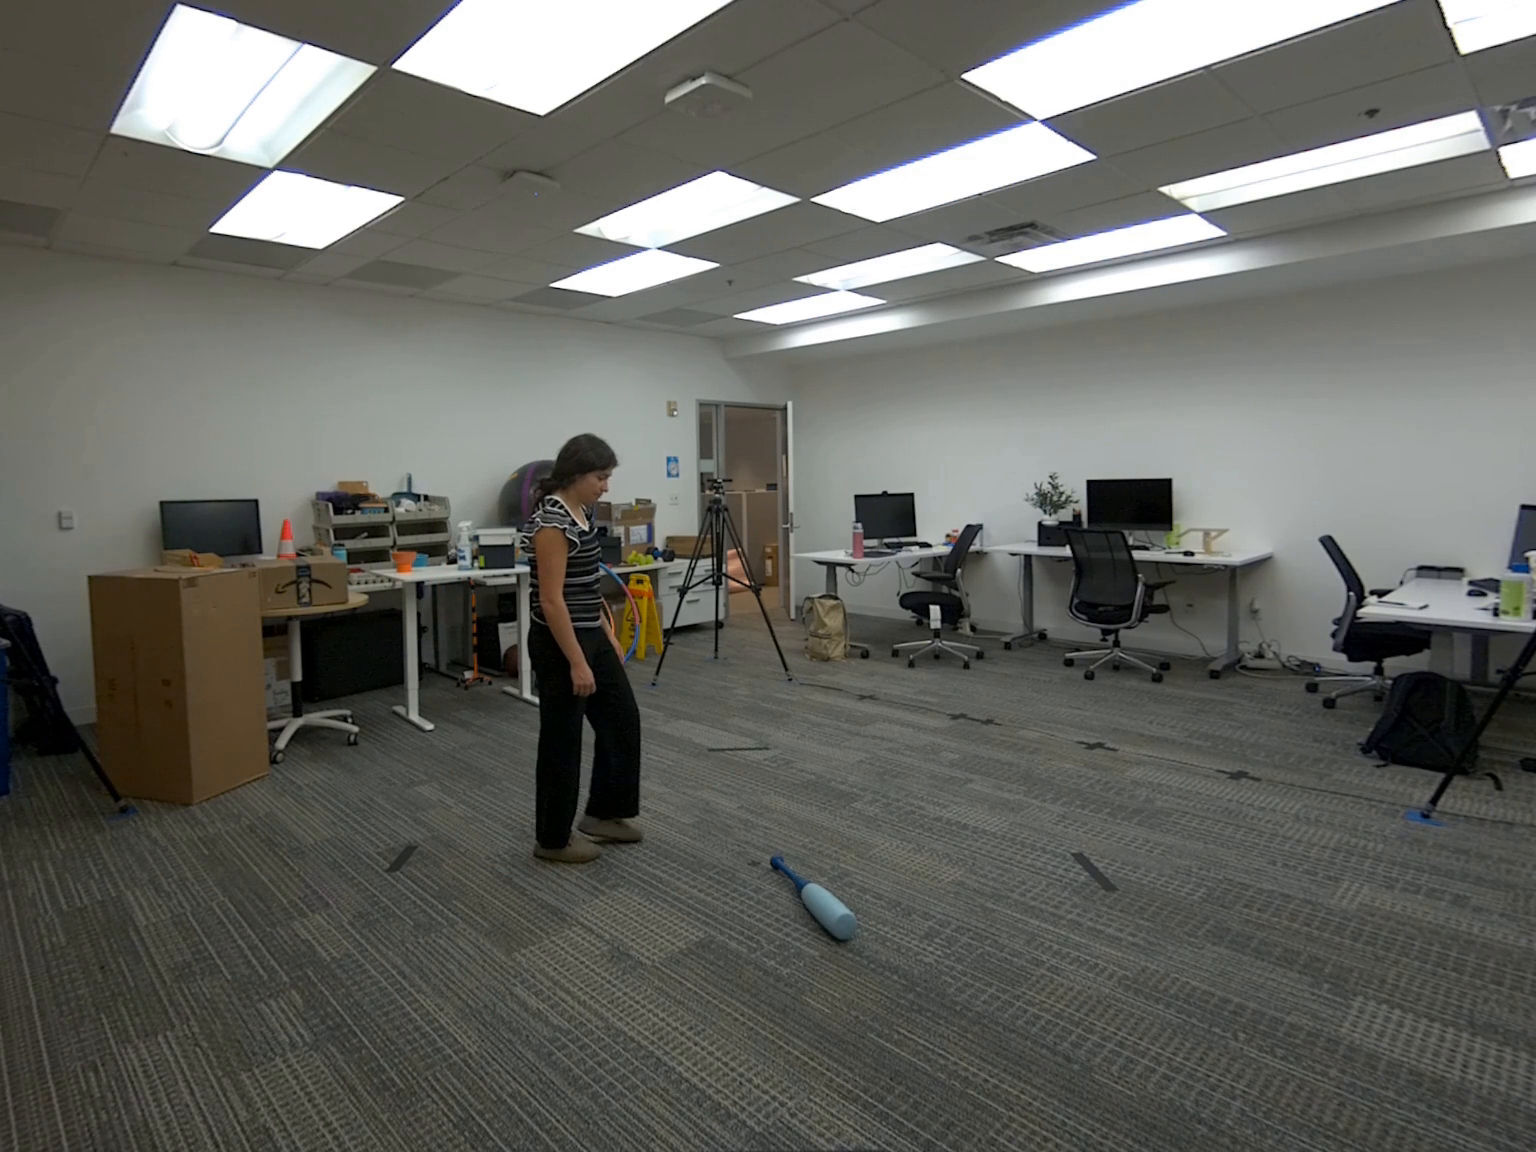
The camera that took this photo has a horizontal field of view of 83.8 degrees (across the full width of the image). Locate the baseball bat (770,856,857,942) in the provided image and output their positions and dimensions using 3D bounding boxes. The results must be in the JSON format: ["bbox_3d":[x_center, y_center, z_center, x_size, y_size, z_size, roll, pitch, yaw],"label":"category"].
[{"bbox_3d":[0.137,1.042,2.811,0.087,0.089,0.553,-3,3,-21],"label":"baseball bat"}]
